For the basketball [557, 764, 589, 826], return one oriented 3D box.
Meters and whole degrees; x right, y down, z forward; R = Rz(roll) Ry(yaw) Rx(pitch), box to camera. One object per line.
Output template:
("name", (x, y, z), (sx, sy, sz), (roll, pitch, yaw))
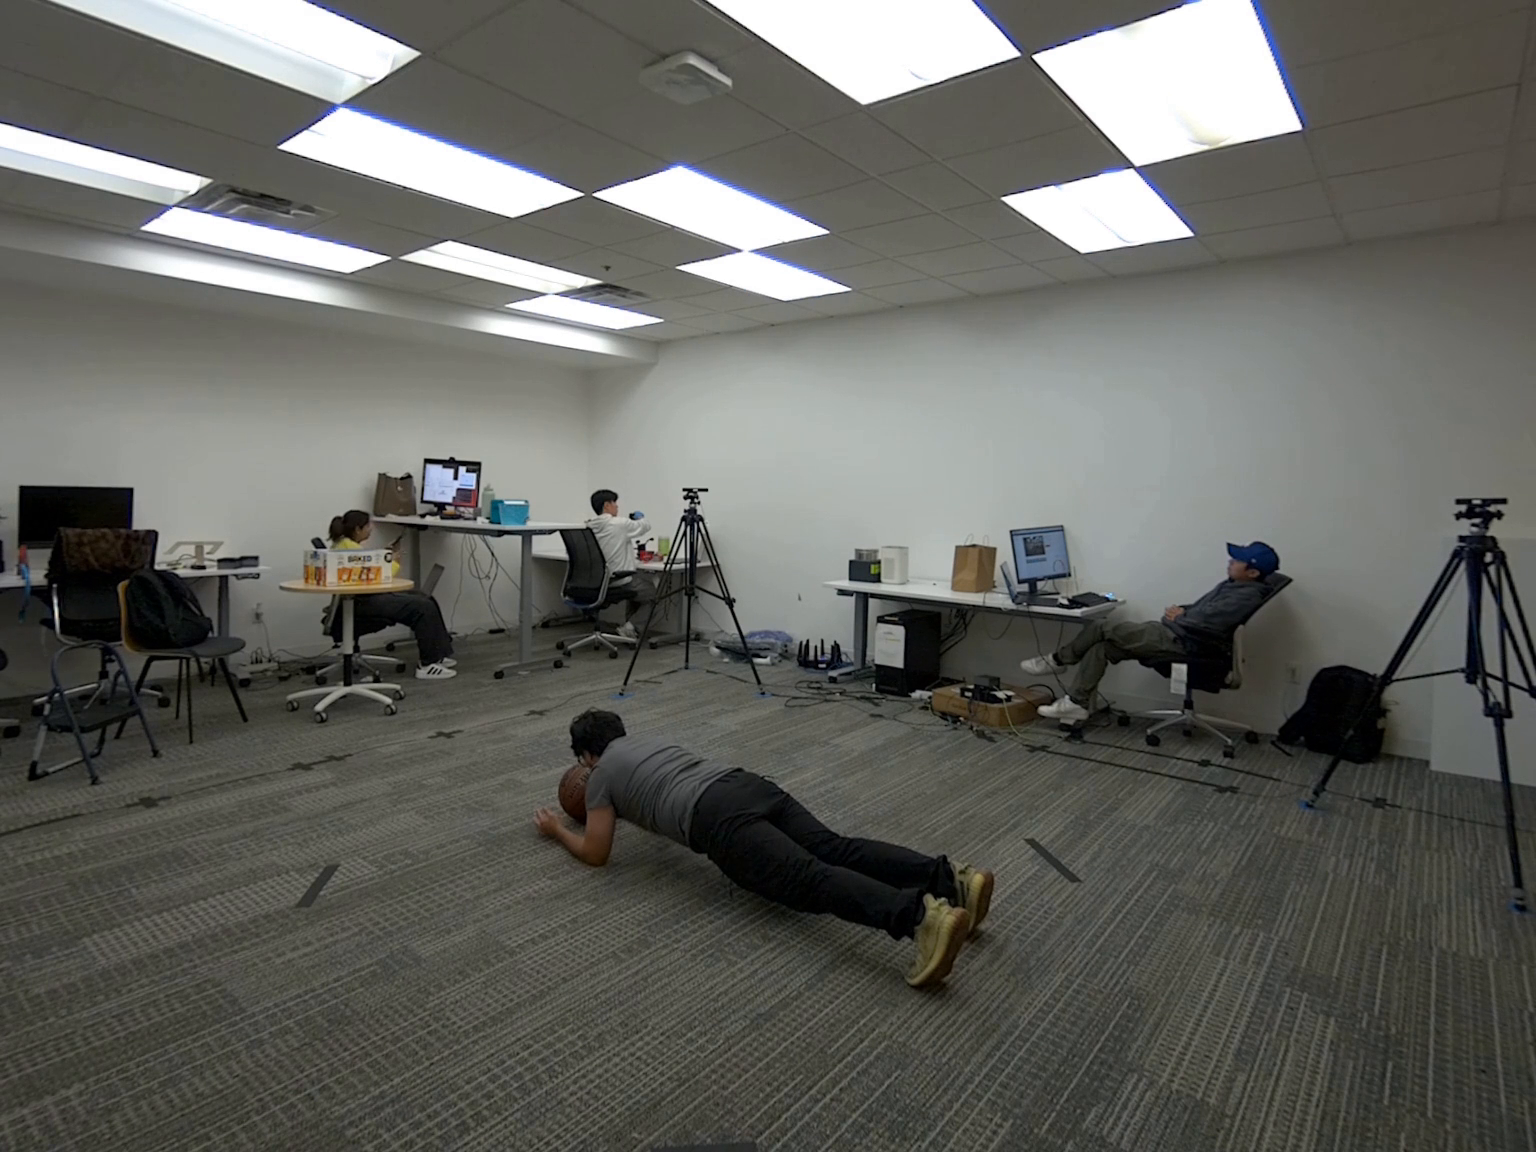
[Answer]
("basketball", (-0.764, 0.898, 3.555), (0.235, 0.235, 0.237), (1, 4, -2))
